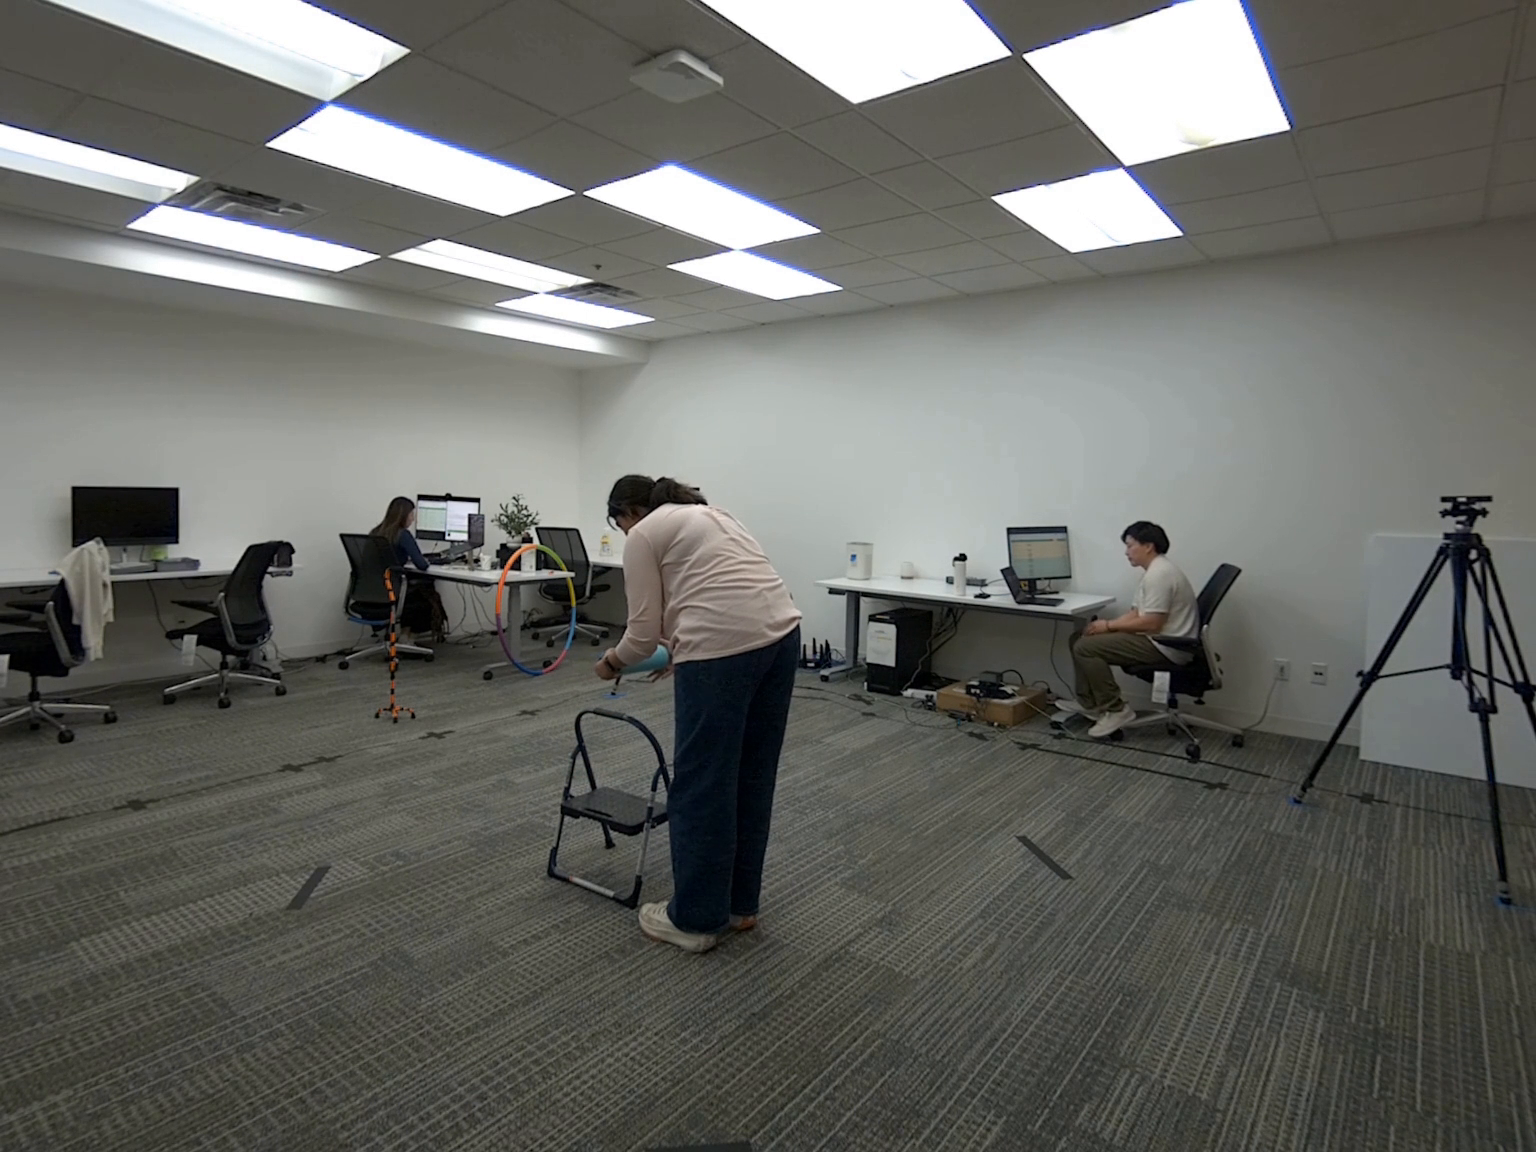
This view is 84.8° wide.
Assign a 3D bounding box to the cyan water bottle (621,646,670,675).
[{"bbox_3d":[-0.484,0.293,2.991,0.095,0.092,0.274,4,4,39],"label":"cyan water bottle"}]
